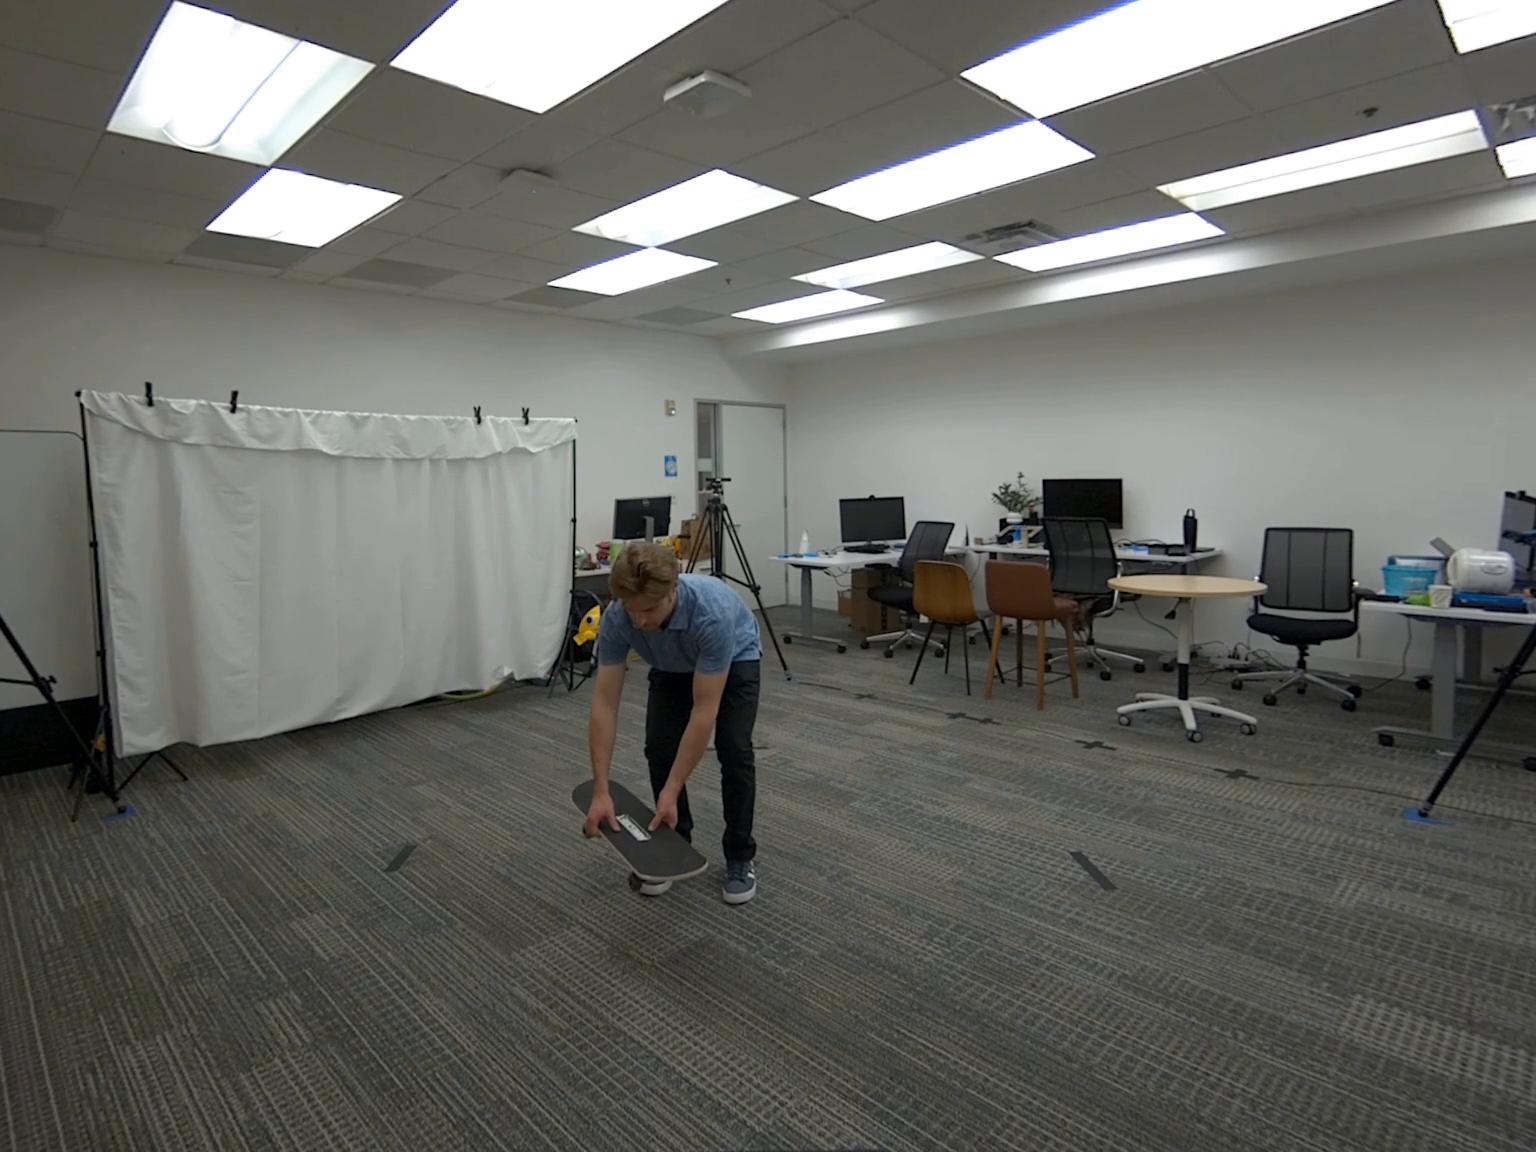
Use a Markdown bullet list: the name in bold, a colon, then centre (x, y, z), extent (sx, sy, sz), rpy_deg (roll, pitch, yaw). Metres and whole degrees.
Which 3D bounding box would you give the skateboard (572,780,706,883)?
- **skateboard**: centre (-0.406, 0.791, 2.576), extent (0.189, 0.109, 0.807), rpy_deg (-9, 10, -29)
